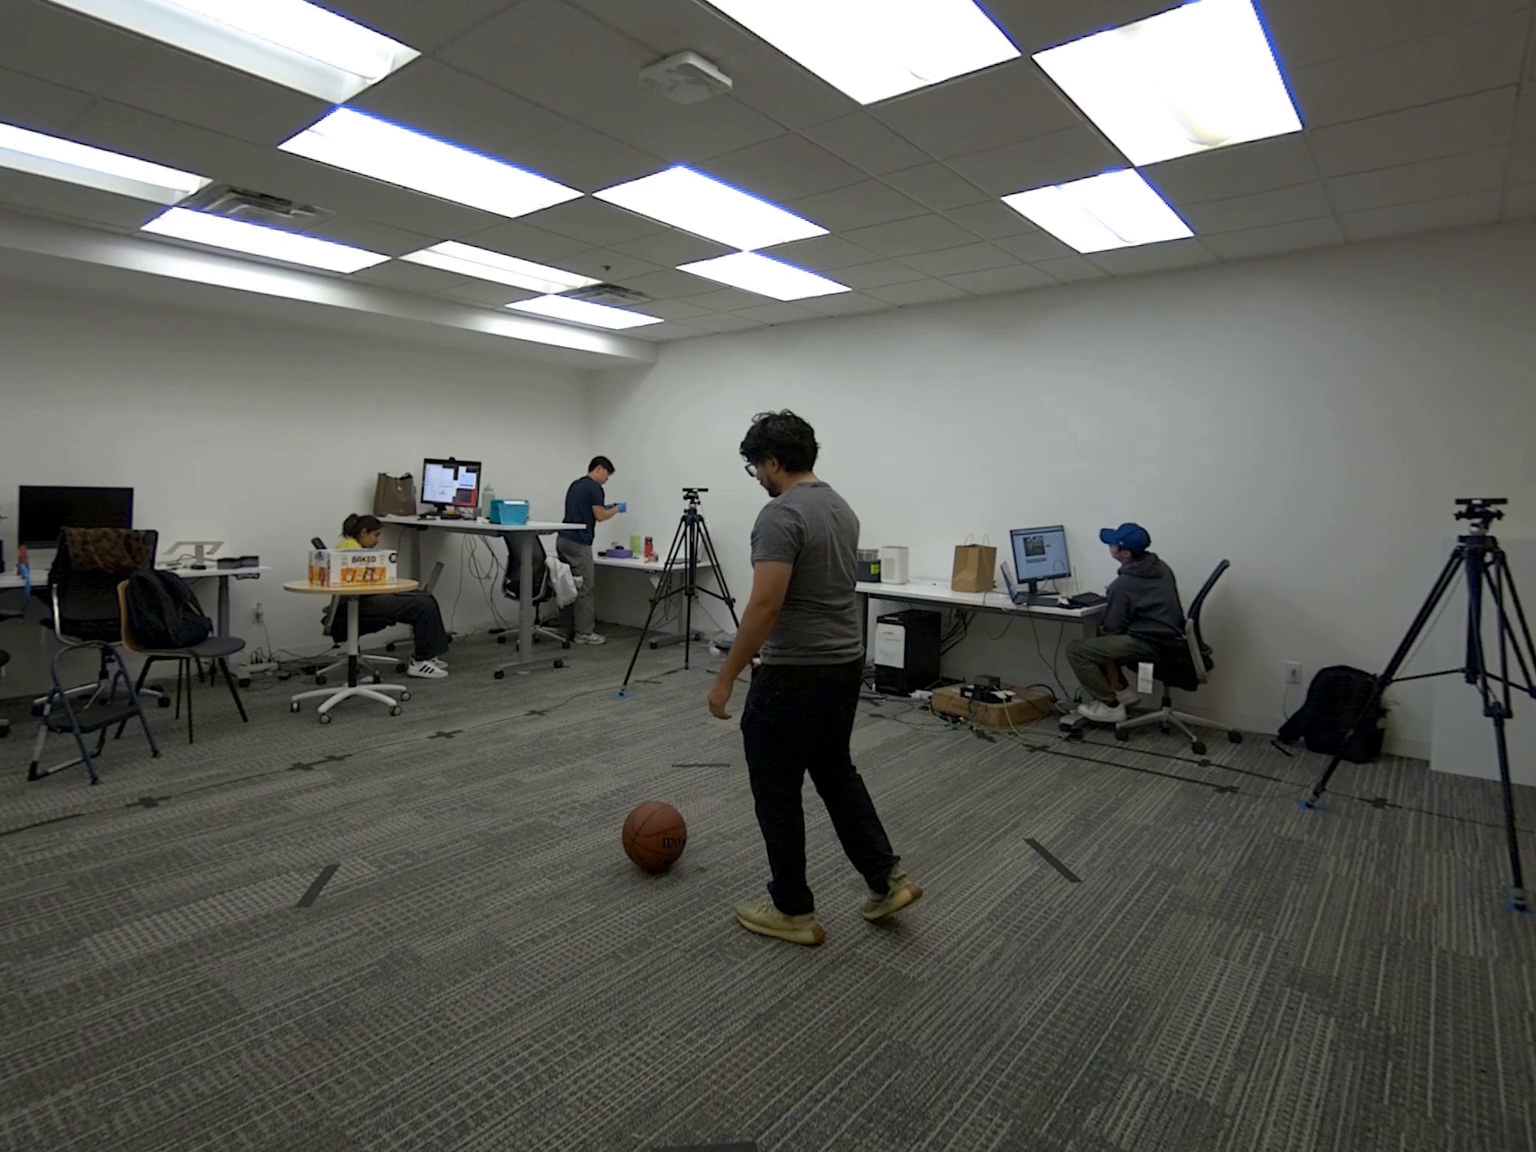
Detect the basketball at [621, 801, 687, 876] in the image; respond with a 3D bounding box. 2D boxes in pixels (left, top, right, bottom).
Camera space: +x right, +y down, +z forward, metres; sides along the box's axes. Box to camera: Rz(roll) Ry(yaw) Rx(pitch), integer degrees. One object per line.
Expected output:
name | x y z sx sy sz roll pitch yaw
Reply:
basketball | -0.424 0.947 3.110 0.235 0.235 0.237 1 4 -2
